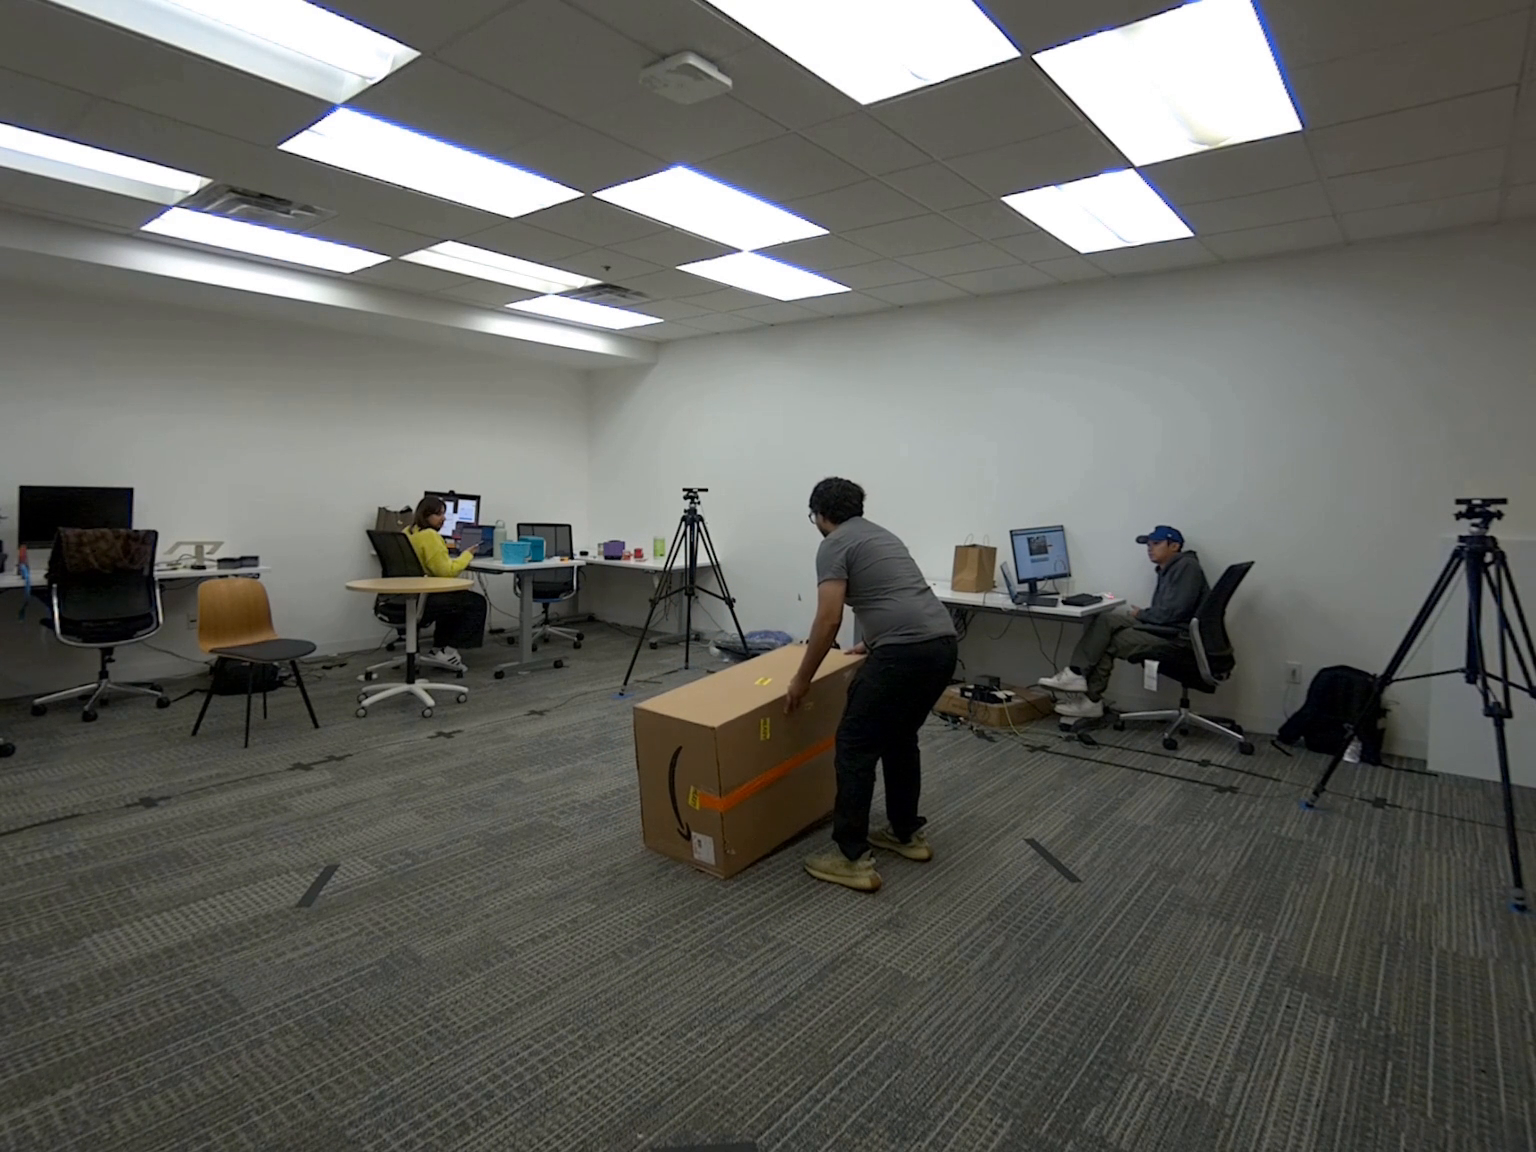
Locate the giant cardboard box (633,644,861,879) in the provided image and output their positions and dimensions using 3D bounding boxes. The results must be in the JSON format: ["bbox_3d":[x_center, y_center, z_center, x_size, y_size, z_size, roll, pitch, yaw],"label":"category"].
[{"bbox_3d":[-0.031,0.699,3.497,0.440,0.572,1.001,4,12,40],"label":"giant cardboard box"}]
